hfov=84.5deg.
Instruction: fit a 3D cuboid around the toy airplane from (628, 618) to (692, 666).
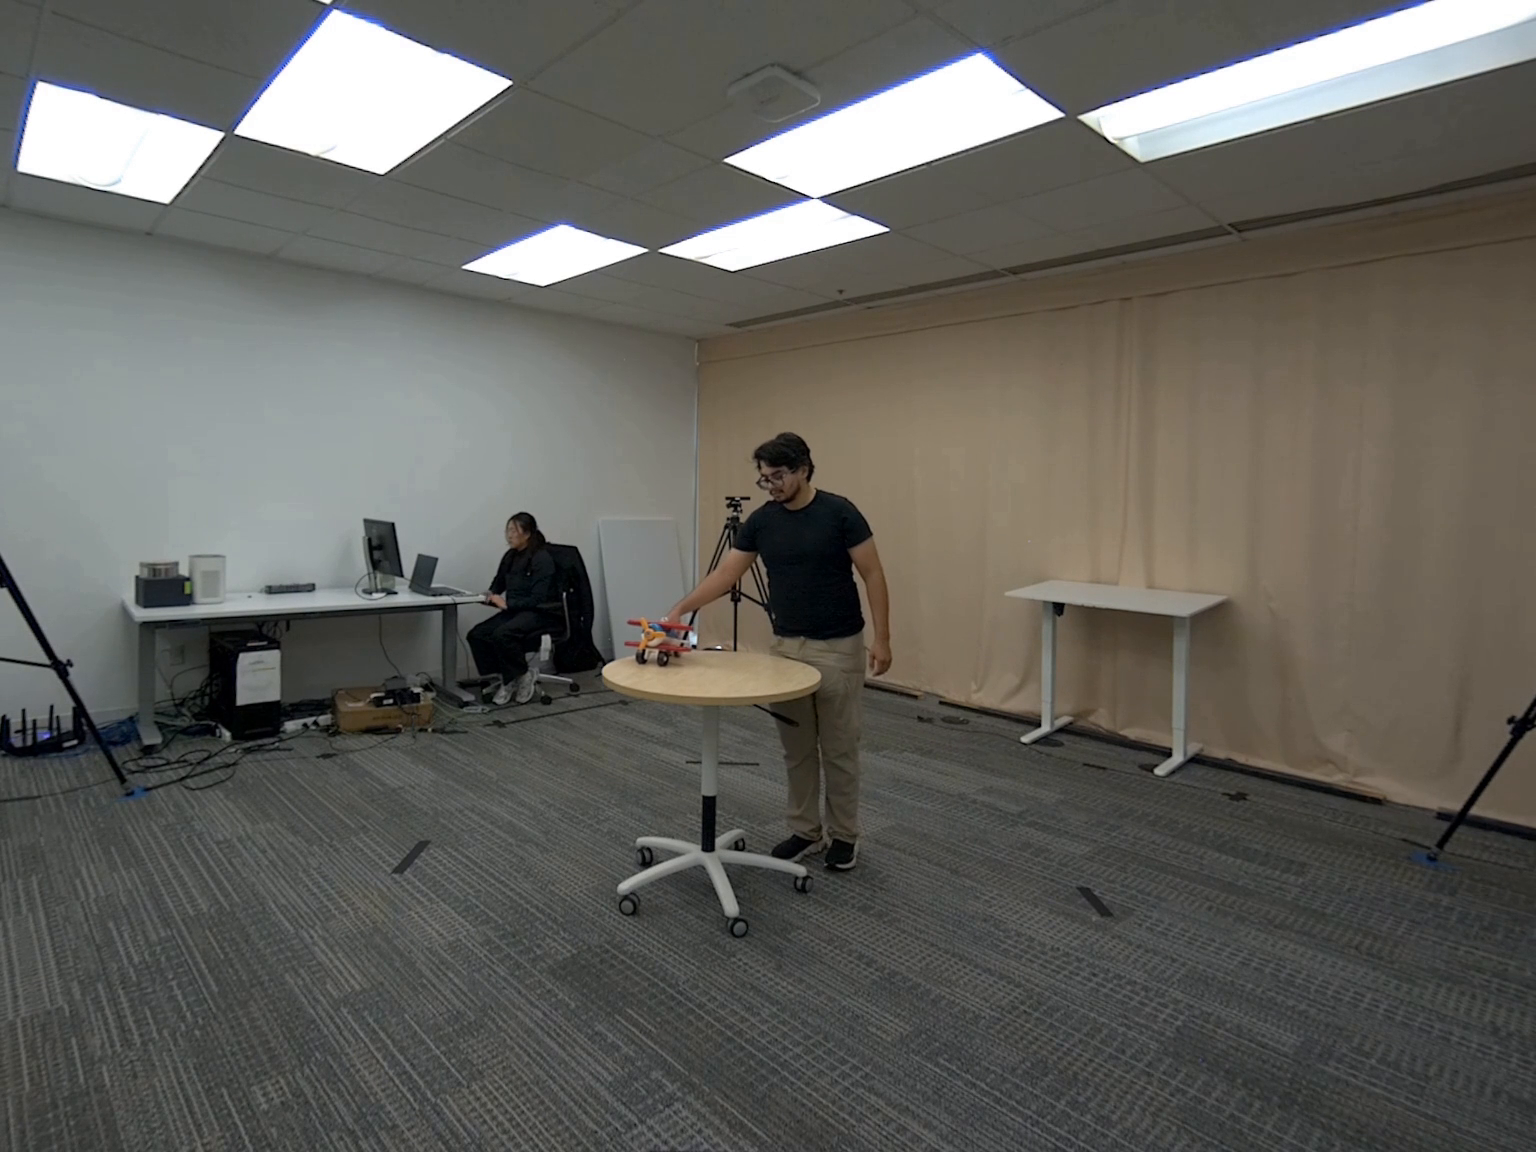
[{"bbox_3d":[-0.411,0.236,3.109,0.249,0.156,0.262,1,6,-9],"label":"toy airplane"}]
